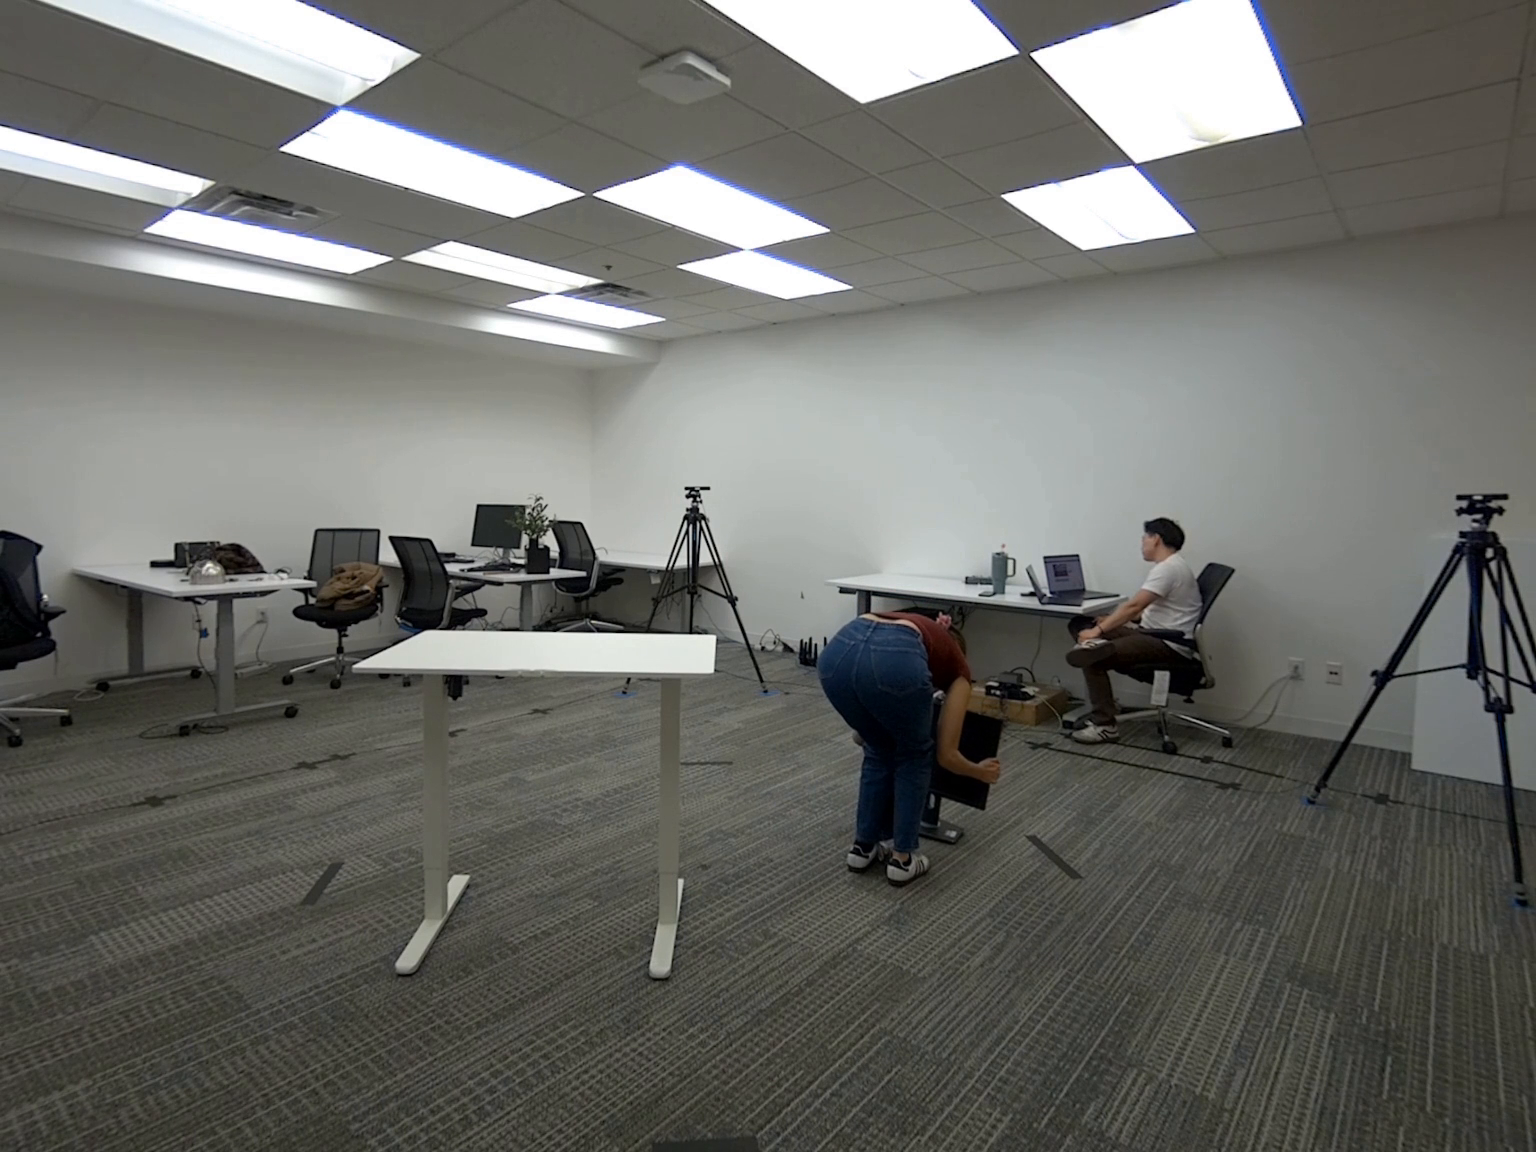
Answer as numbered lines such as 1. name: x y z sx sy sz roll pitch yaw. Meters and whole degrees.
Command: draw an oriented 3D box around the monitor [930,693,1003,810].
1. monitor: 0.660 0.776 3.479 0.557 0.521 0.181 6 4 34
